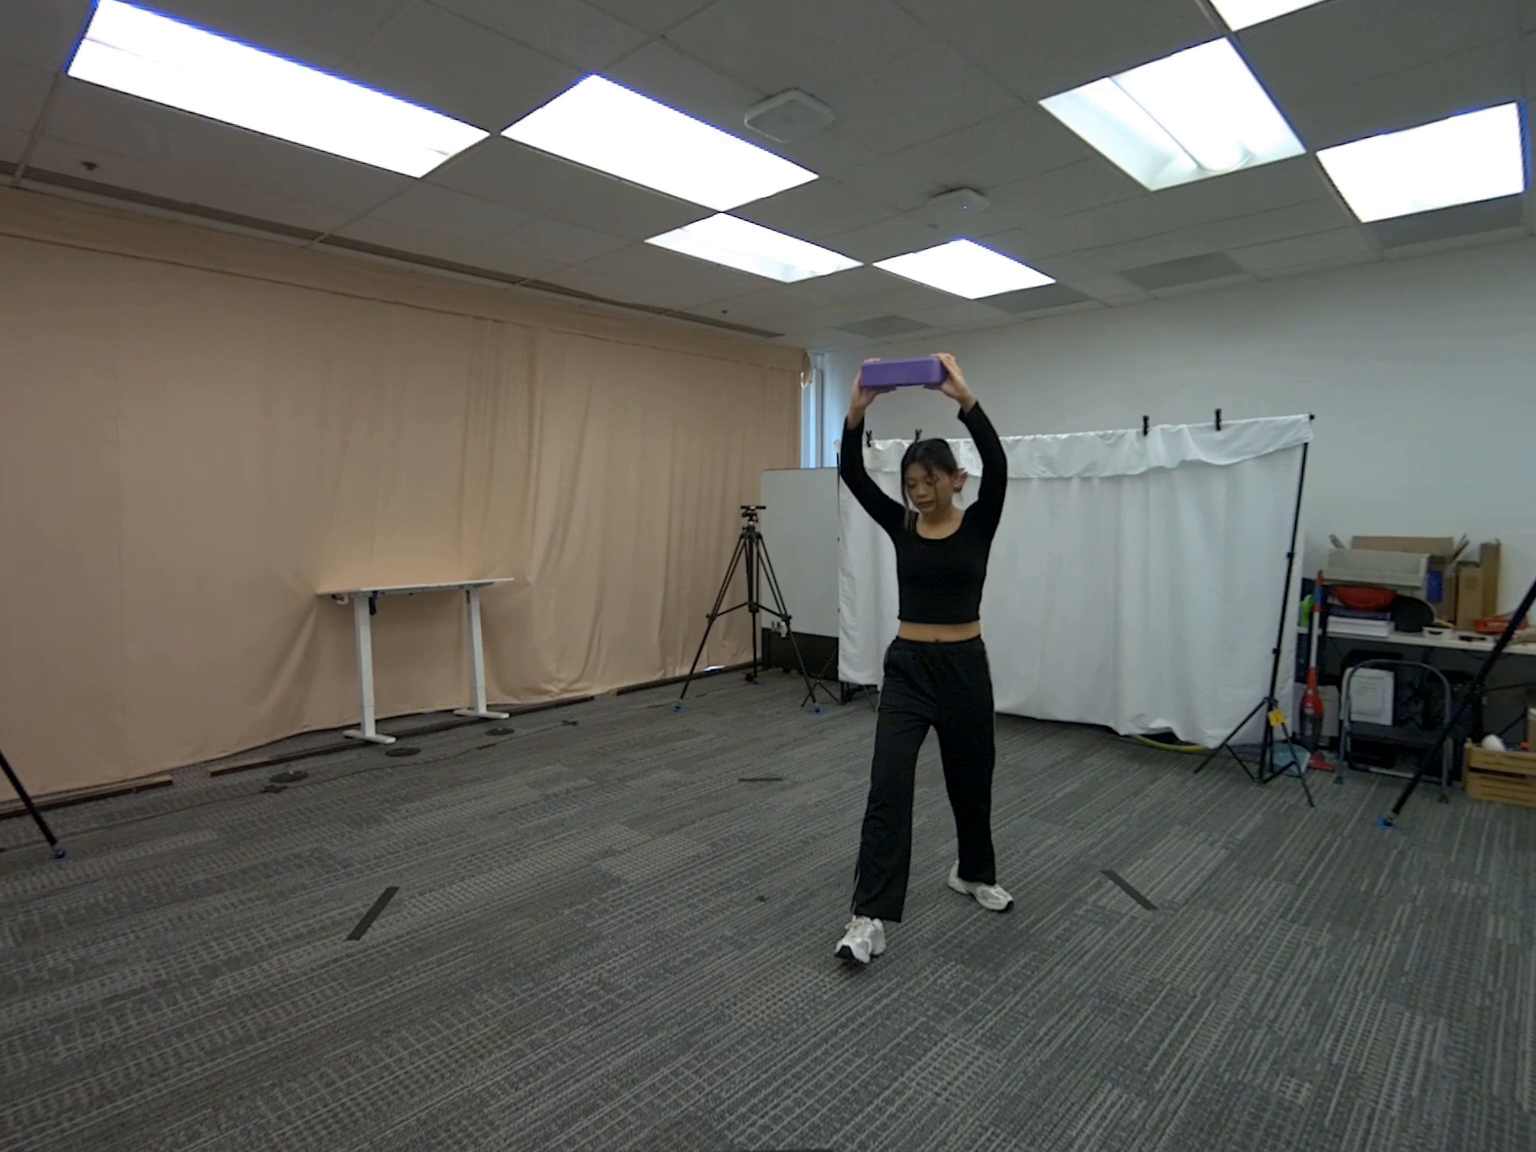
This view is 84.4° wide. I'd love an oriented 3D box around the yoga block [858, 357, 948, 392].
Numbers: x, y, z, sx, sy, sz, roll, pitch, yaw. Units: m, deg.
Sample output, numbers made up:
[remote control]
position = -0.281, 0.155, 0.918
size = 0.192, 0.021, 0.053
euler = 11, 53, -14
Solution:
[yoga block]
position = 0.420, -0.594, 2.470
size = 0.237, 0.076, 0.145
euler = 5, 15, 35
